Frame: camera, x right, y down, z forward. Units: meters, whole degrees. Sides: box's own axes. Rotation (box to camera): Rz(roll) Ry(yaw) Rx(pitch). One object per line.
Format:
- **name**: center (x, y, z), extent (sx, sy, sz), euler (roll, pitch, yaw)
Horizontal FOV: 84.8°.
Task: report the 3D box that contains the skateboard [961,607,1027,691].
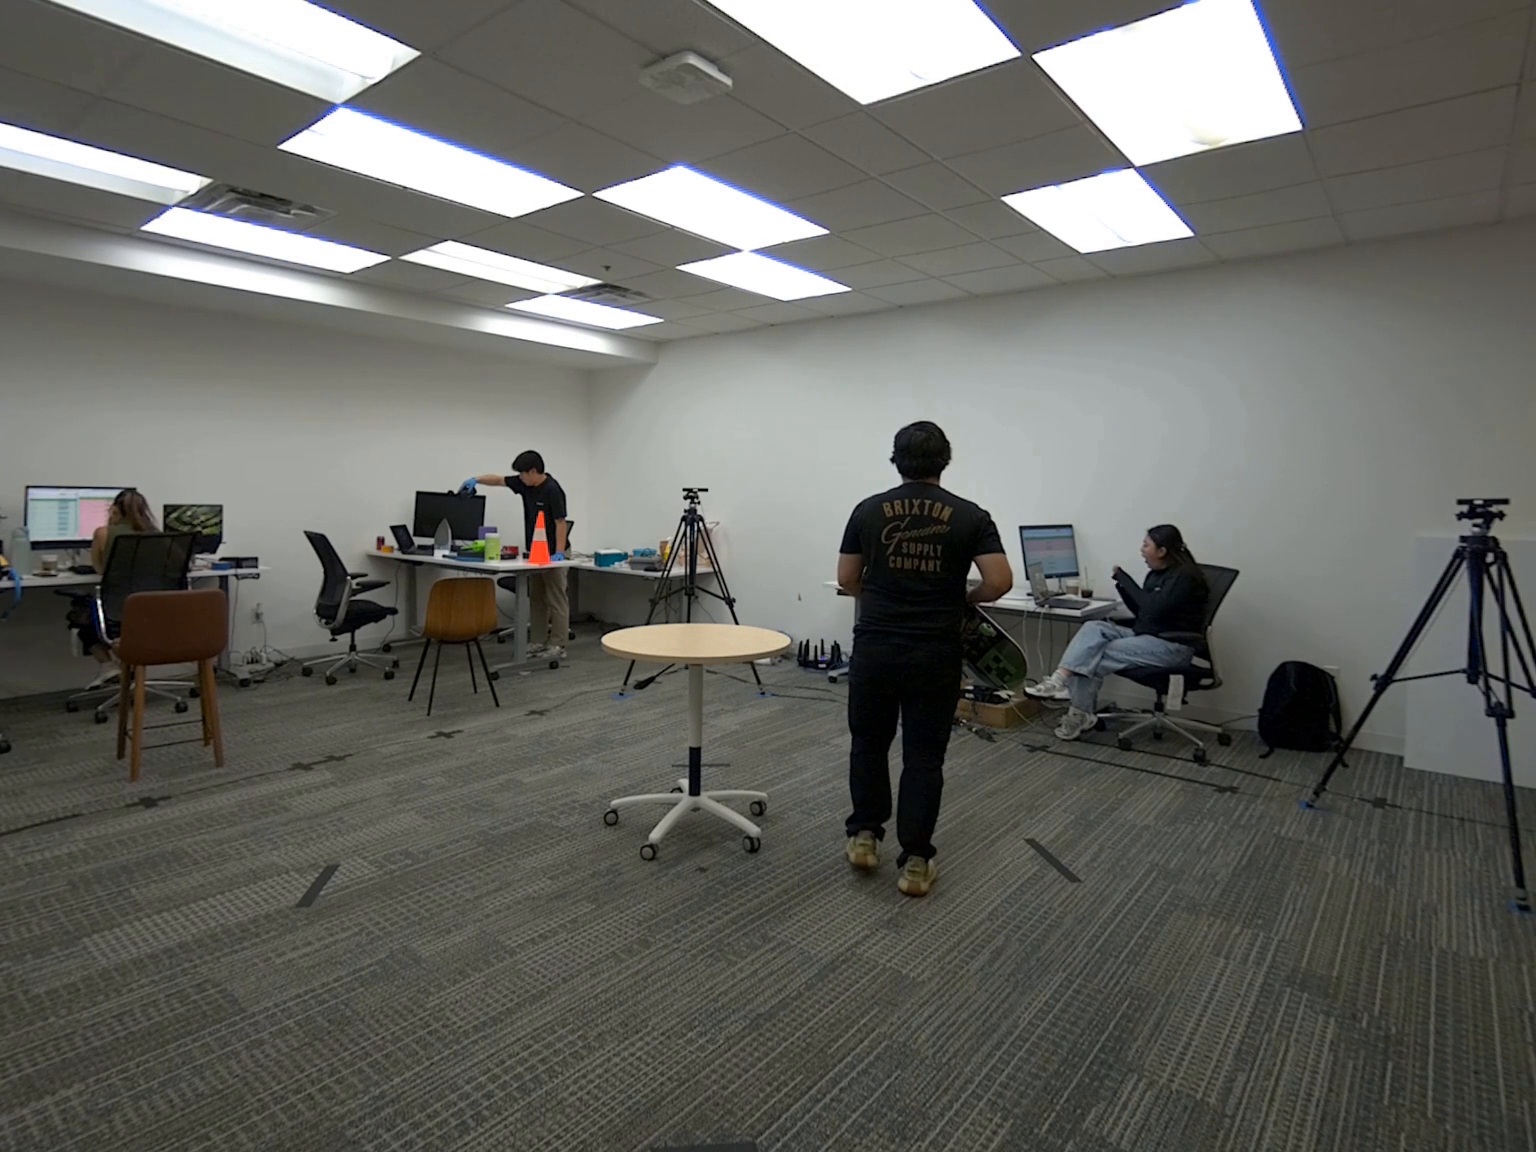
- **skateboard**: center (0.629, 0.124, 3.208), extent (0.107, 0.192, 0.816), euler (4, 37, -49)
